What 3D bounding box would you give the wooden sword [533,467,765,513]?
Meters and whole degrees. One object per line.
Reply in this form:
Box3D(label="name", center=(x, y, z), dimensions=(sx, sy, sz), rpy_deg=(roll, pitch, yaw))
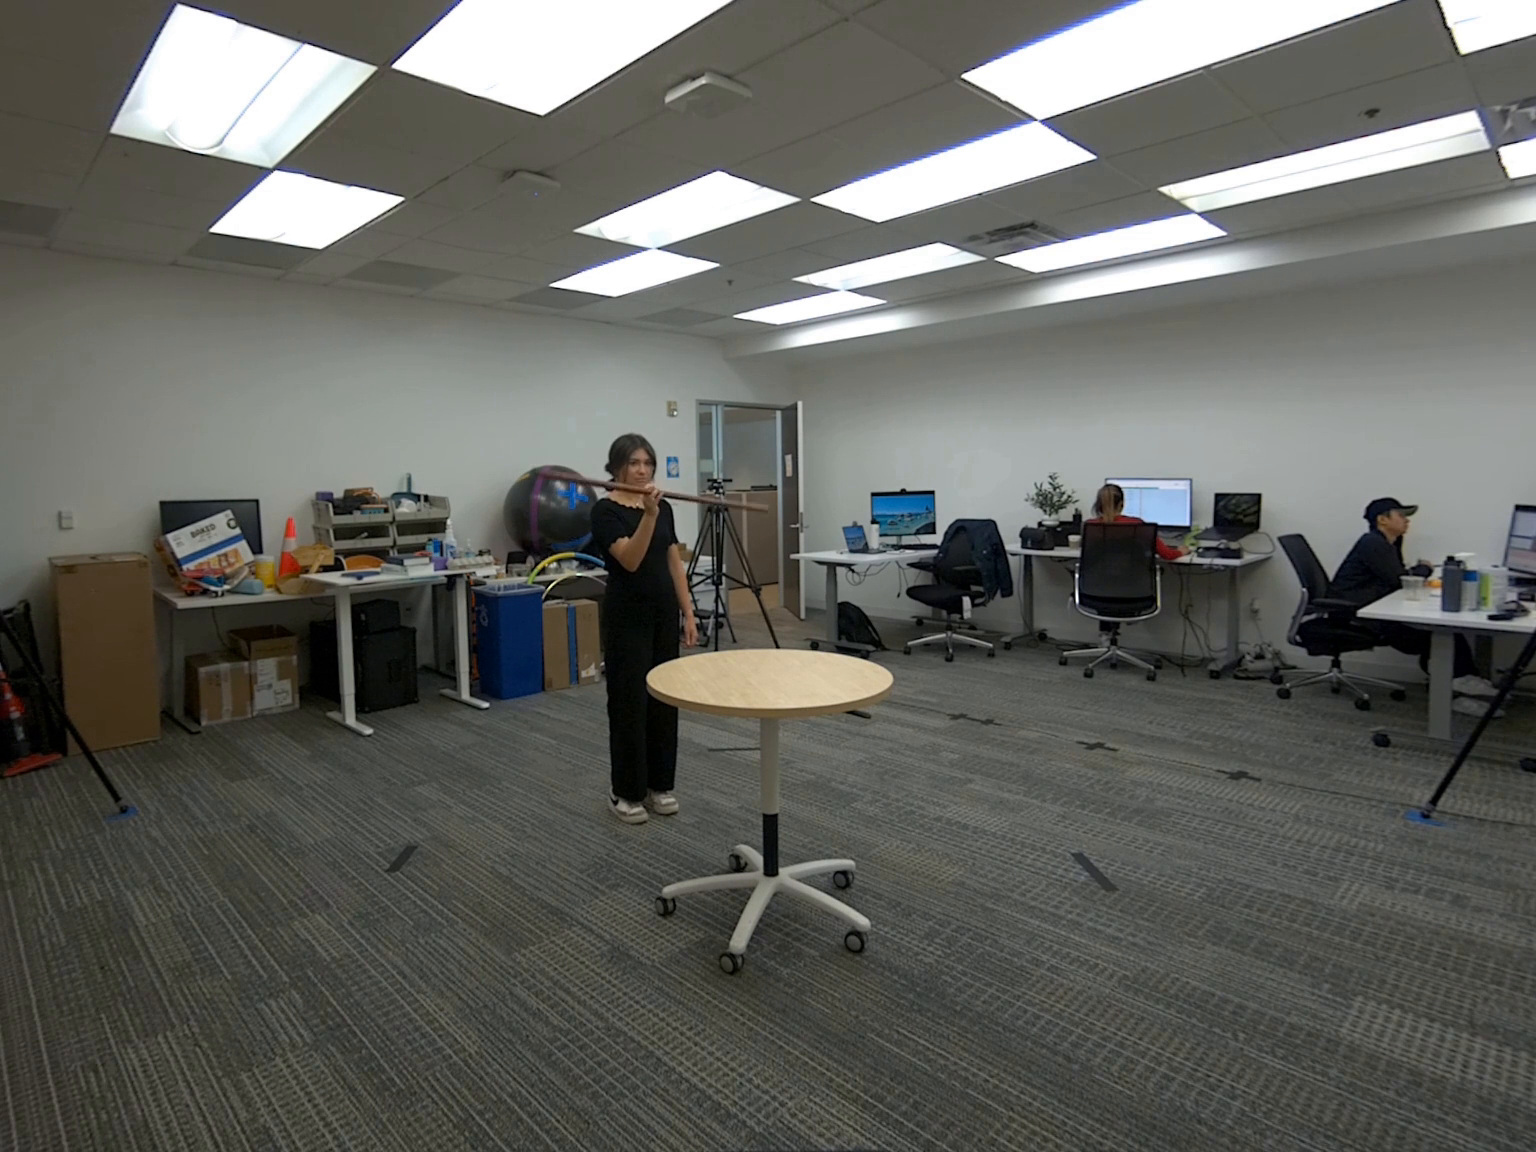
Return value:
Box3D(label="wooden sword", center=(-0.437, -0.308, 3.200), dimensions=(0.993, 0.052, 0.024), rpy_deg=(6, -14, -40))
